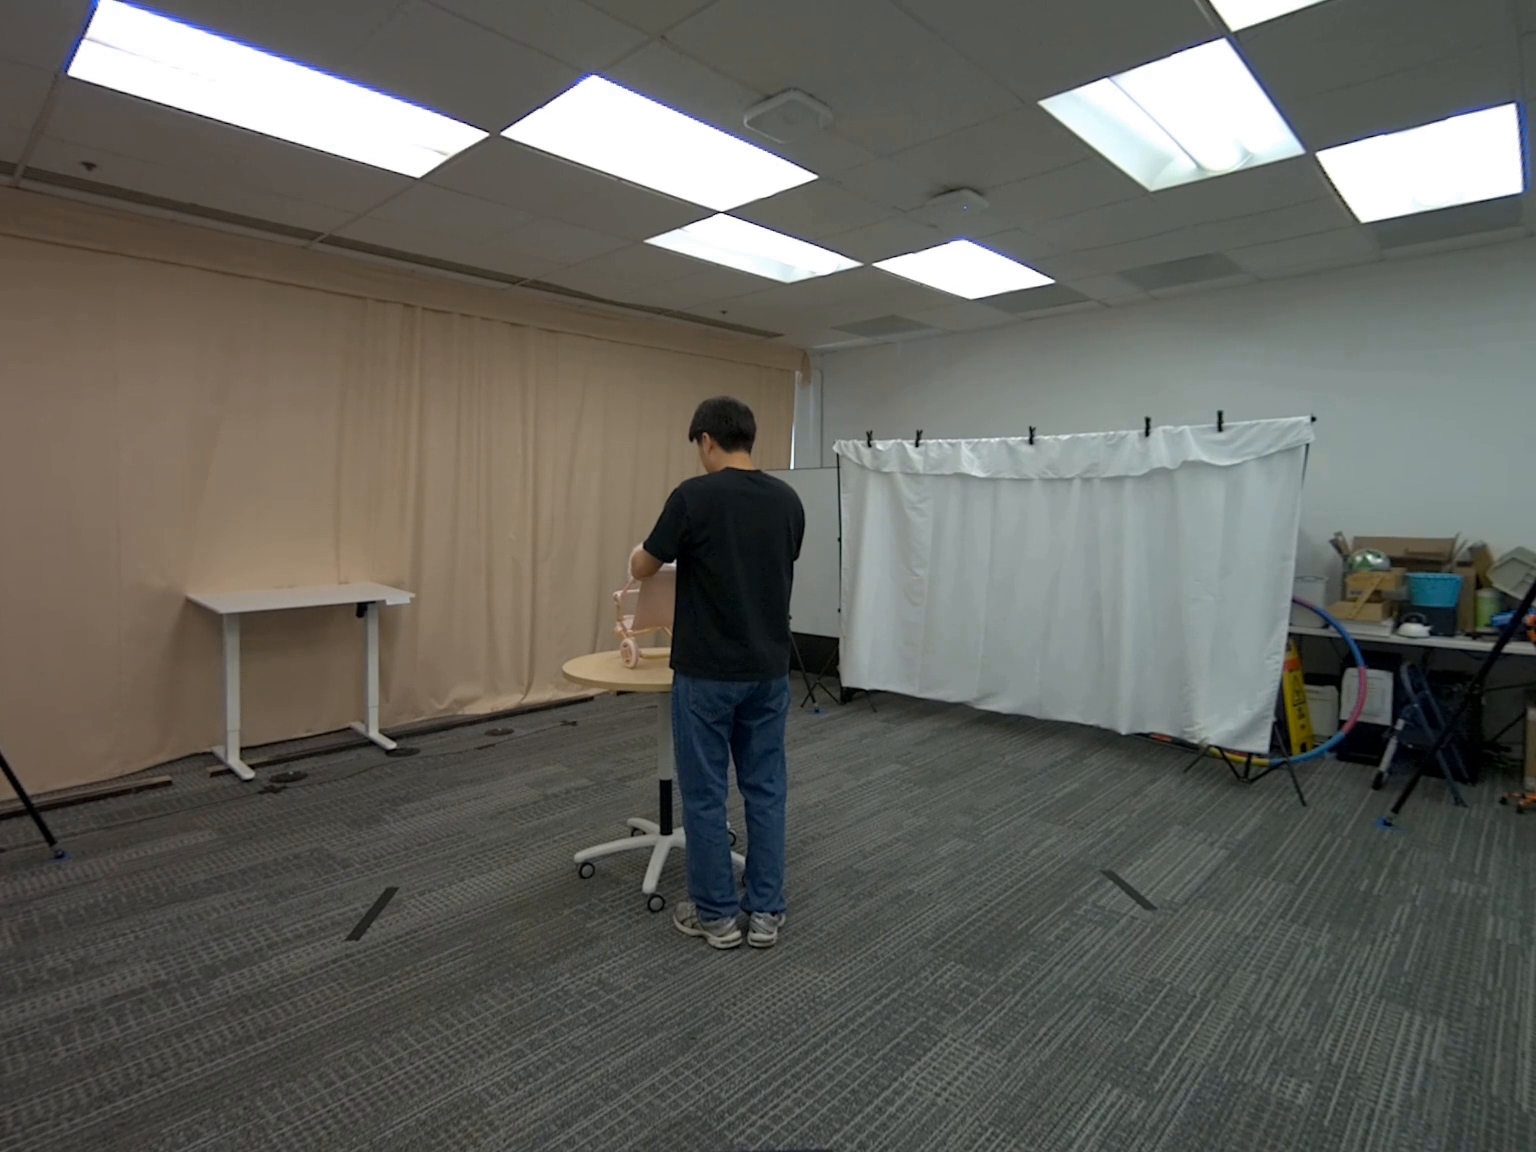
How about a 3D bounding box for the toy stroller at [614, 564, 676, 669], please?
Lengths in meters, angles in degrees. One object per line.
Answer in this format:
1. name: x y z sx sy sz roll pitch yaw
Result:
1. toy stroller: -0.440 0.106 3.224 0.274 0.531 0.353 -1 18 -30
